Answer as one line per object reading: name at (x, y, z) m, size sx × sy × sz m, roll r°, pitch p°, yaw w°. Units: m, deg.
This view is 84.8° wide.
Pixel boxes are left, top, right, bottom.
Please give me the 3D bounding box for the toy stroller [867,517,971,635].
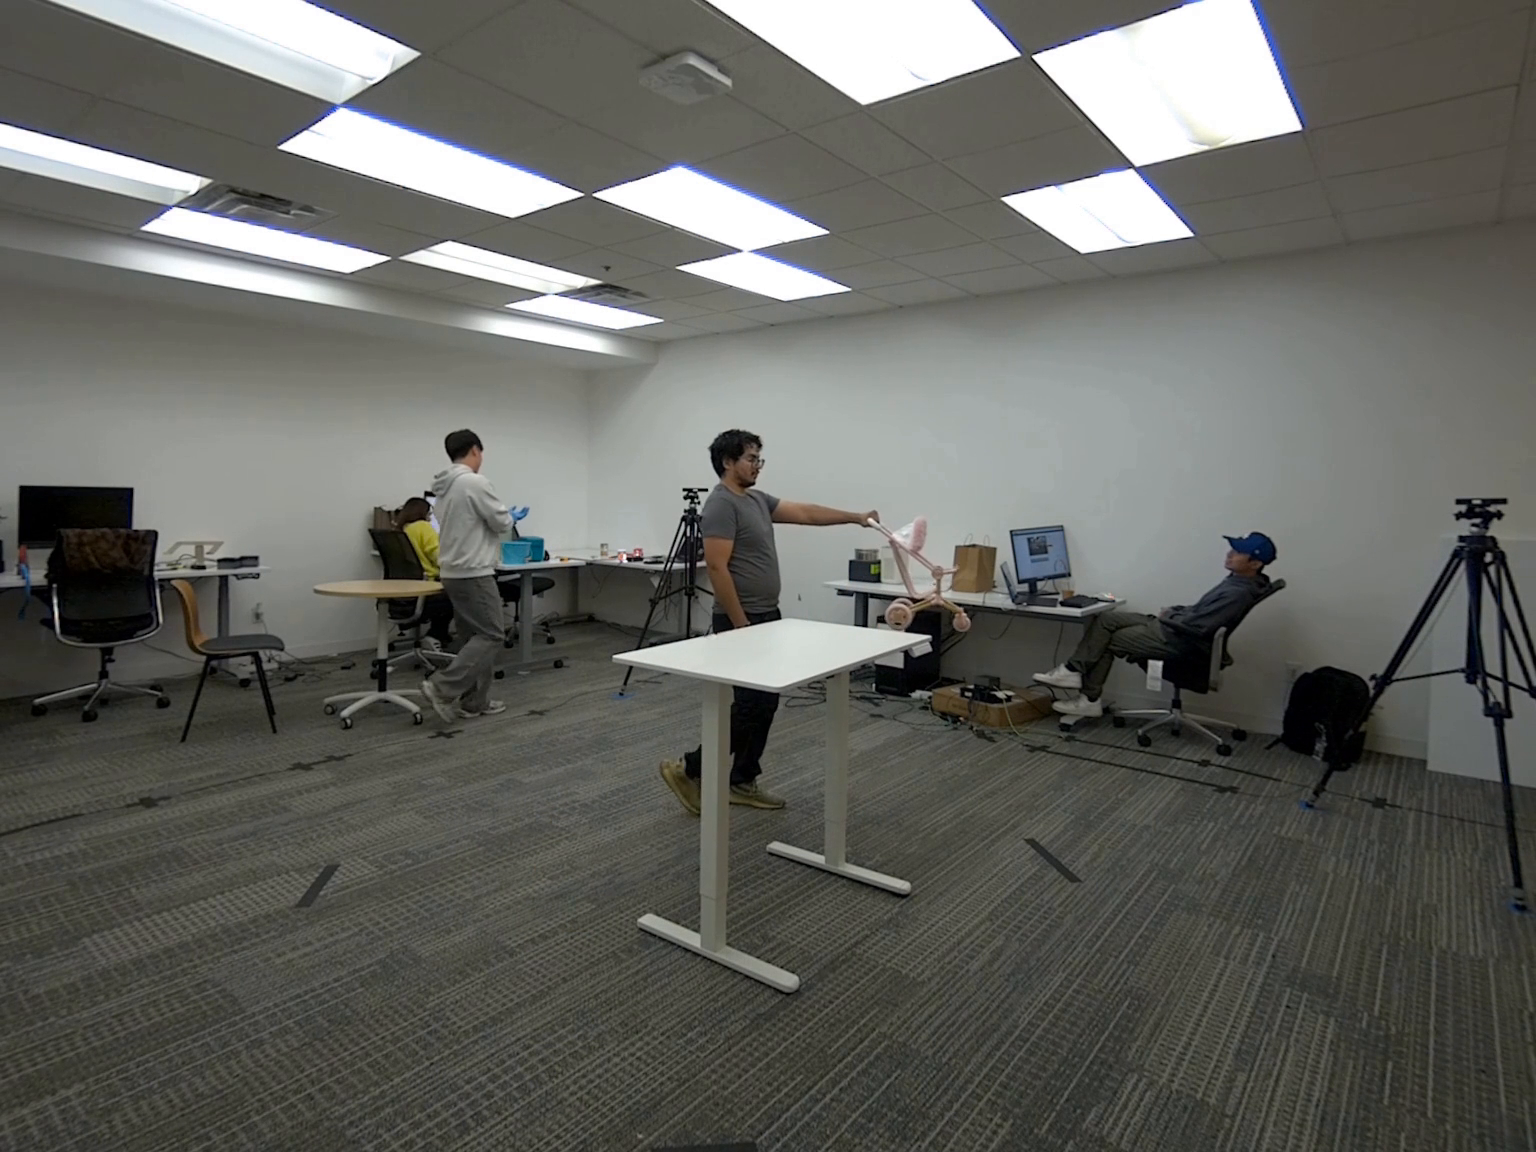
toy stroller at (0.629, -0.011, 3.583) m, size 0.347 × 0.536 × 0.276 m, roll -10°, pitch -2°, yaw 19°
